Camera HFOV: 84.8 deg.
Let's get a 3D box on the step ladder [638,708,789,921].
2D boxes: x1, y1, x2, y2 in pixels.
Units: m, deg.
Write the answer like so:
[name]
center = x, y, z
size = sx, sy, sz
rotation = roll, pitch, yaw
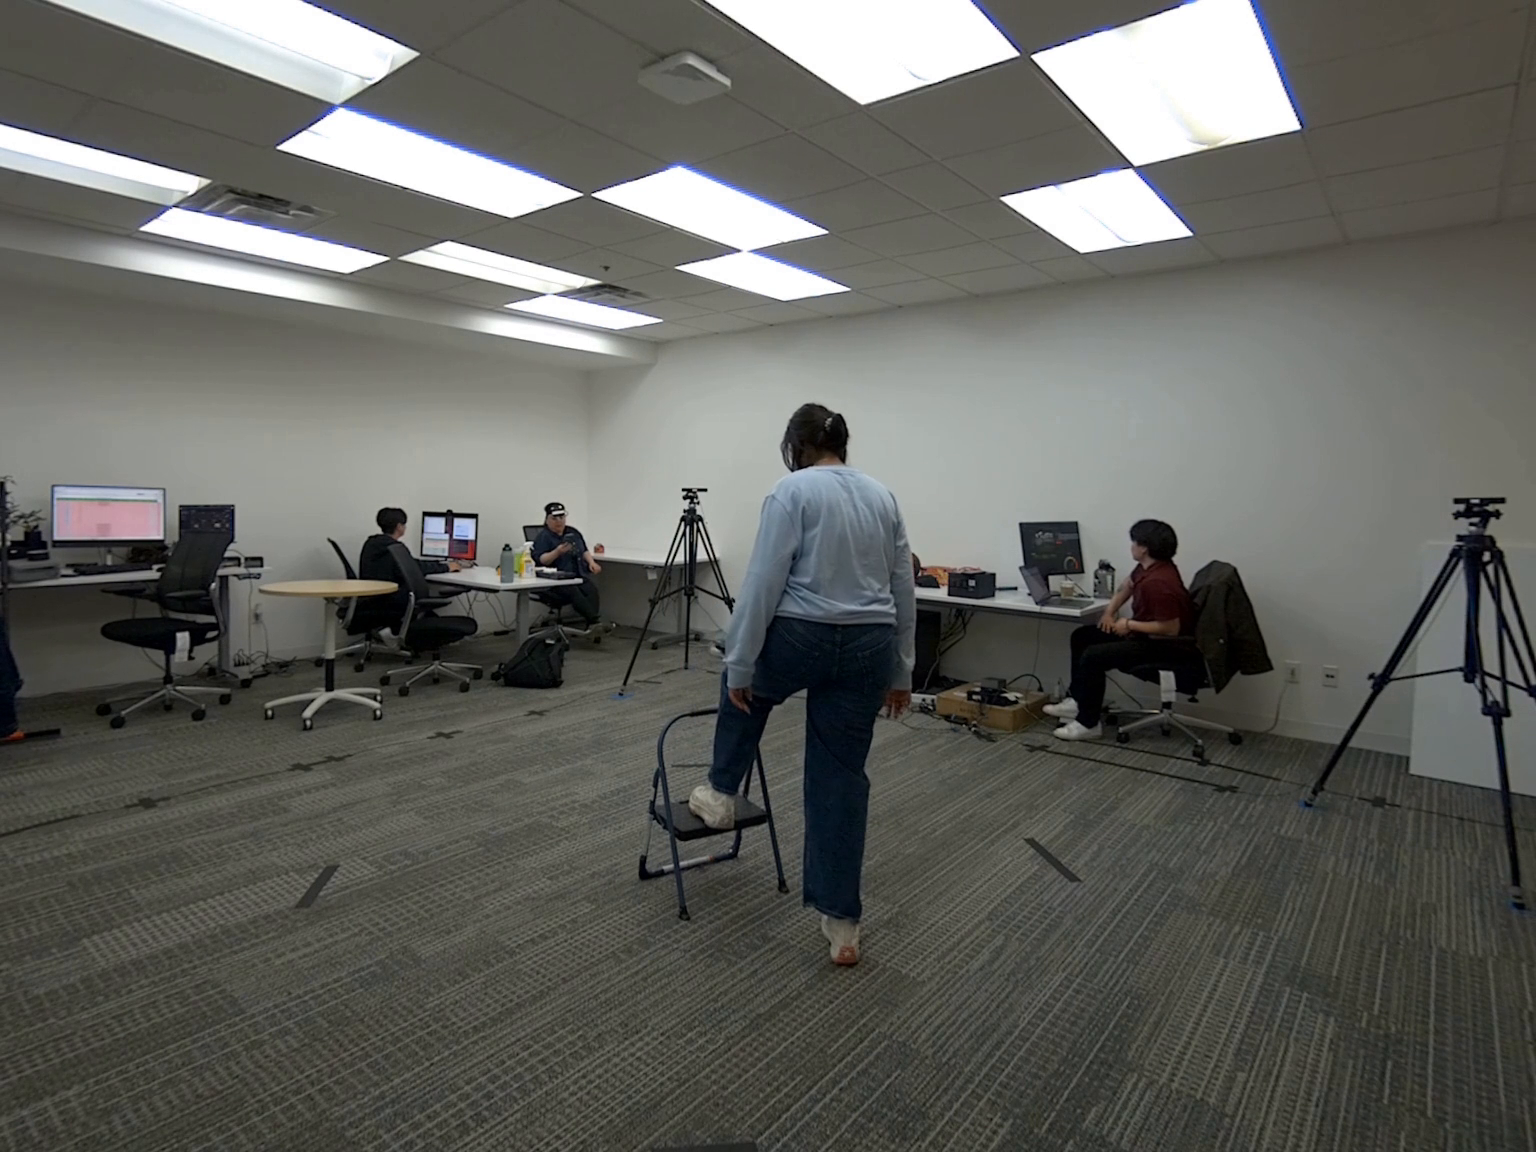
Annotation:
[step ladder]
center = -0.201, 0.782, 2.976
size = 0.418, 0.604, 0.360
rotation = -1, 4, -34
